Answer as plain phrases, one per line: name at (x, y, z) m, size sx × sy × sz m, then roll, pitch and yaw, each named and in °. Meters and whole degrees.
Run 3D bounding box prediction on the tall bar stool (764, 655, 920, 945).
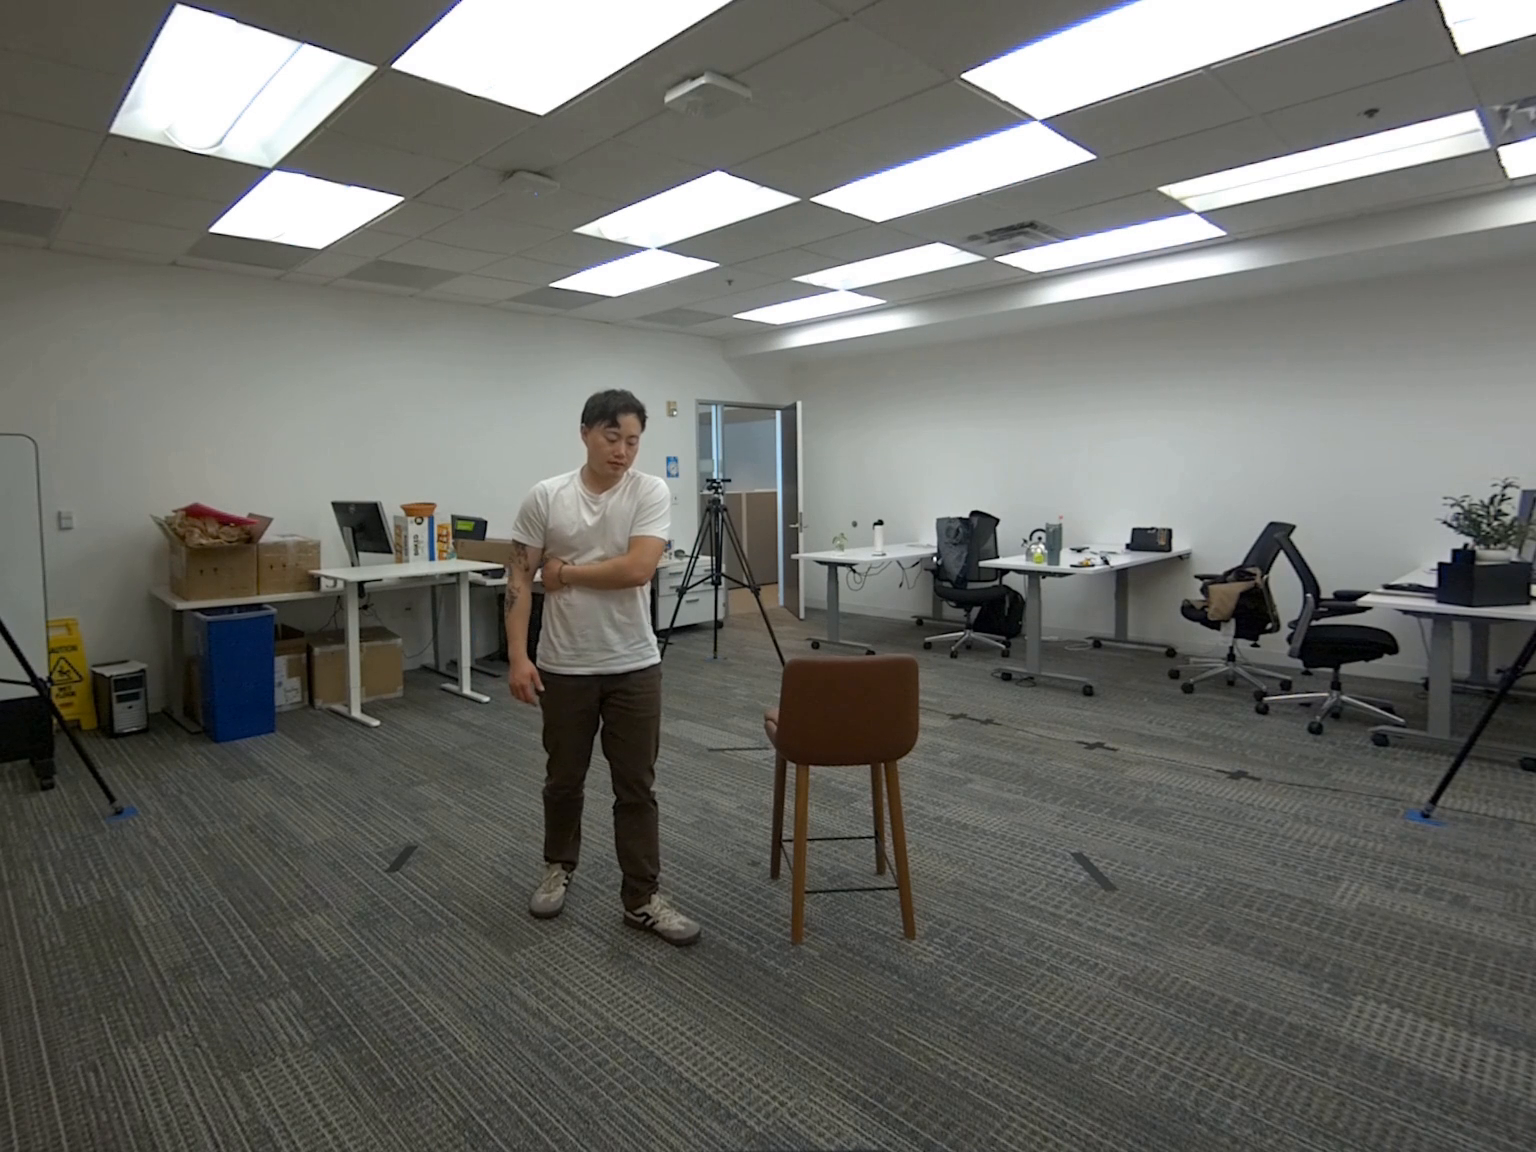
tall bar stool at (0.229, 0.644, 2.760) m, size 0.454 × 0.885 × 0.472 m, roll -1°, pitch 6°, yaw -5°
